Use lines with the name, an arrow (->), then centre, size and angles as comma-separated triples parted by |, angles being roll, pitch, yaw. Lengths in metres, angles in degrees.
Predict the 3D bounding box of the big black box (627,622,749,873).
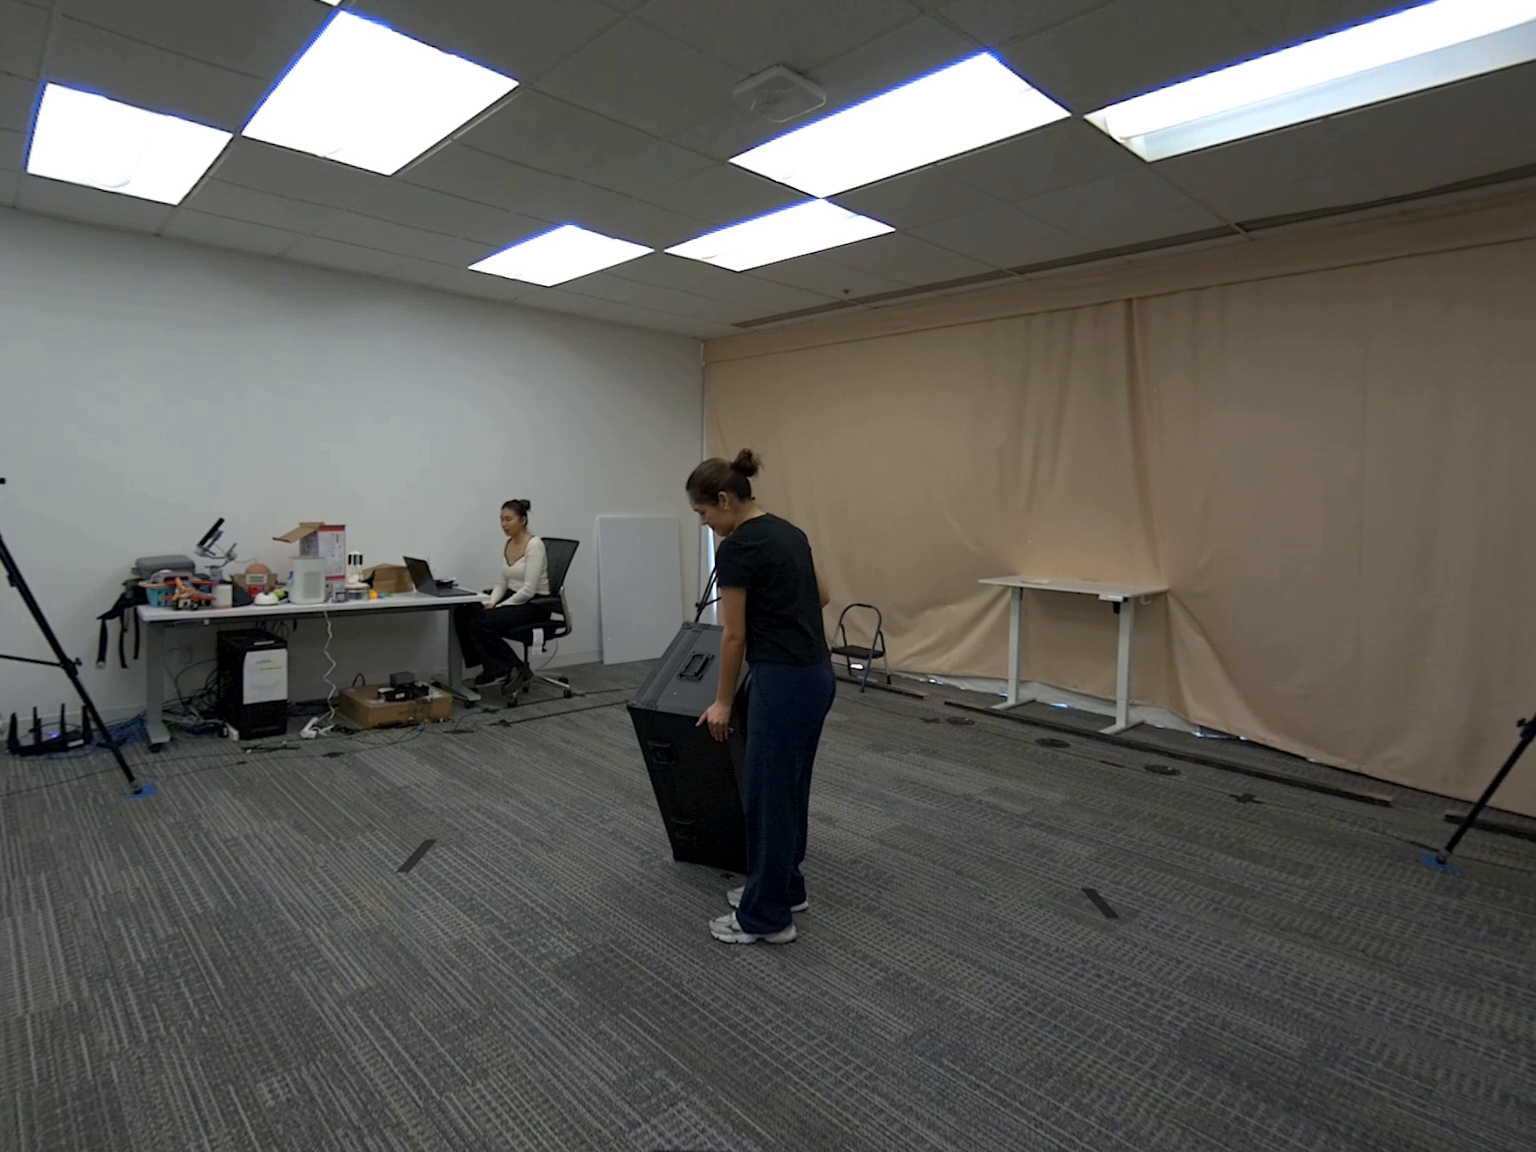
big black box -> -0.162, 0.671, 3.151 | 0.403, 0.842, 0.523 | 5, 34, 22
